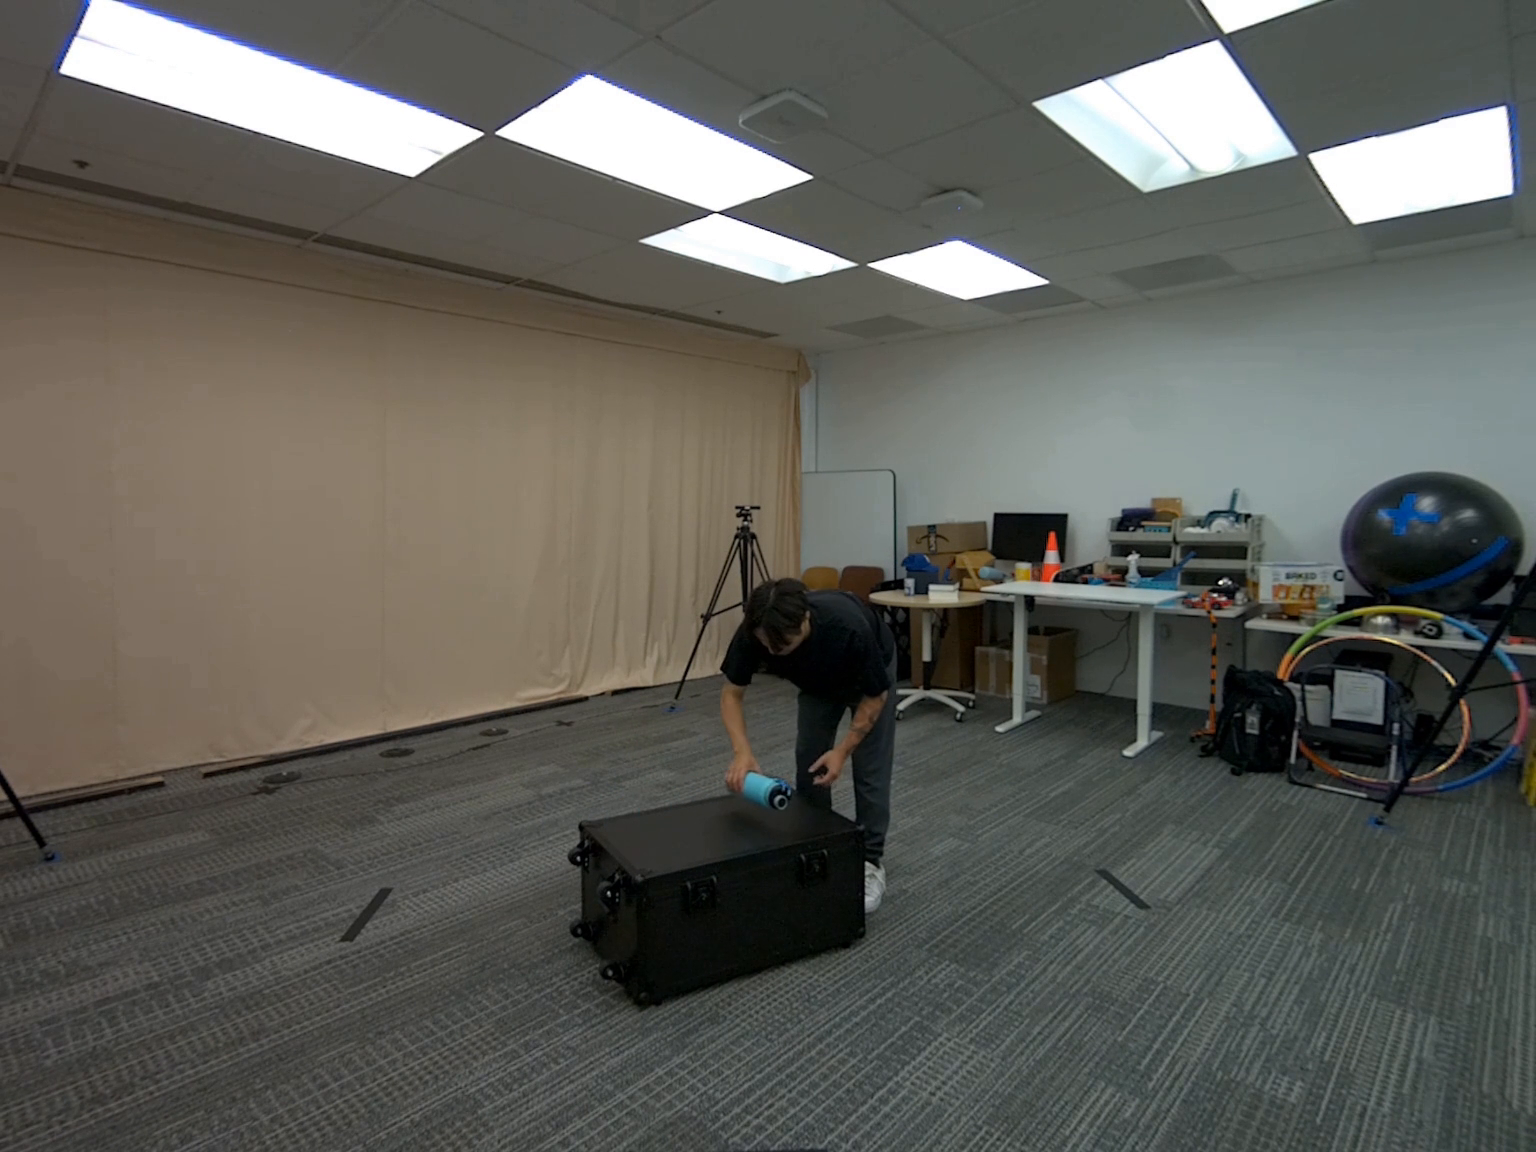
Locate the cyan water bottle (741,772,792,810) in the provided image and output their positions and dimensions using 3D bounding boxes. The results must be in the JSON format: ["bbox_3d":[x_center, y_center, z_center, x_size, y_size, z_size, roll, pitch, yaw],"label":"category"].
[{"bbox_3d":[-0.034,0.688,2.715,0.090,0.092,0.291,-2,-1,-32],"label":"cyan water bottle"}]
